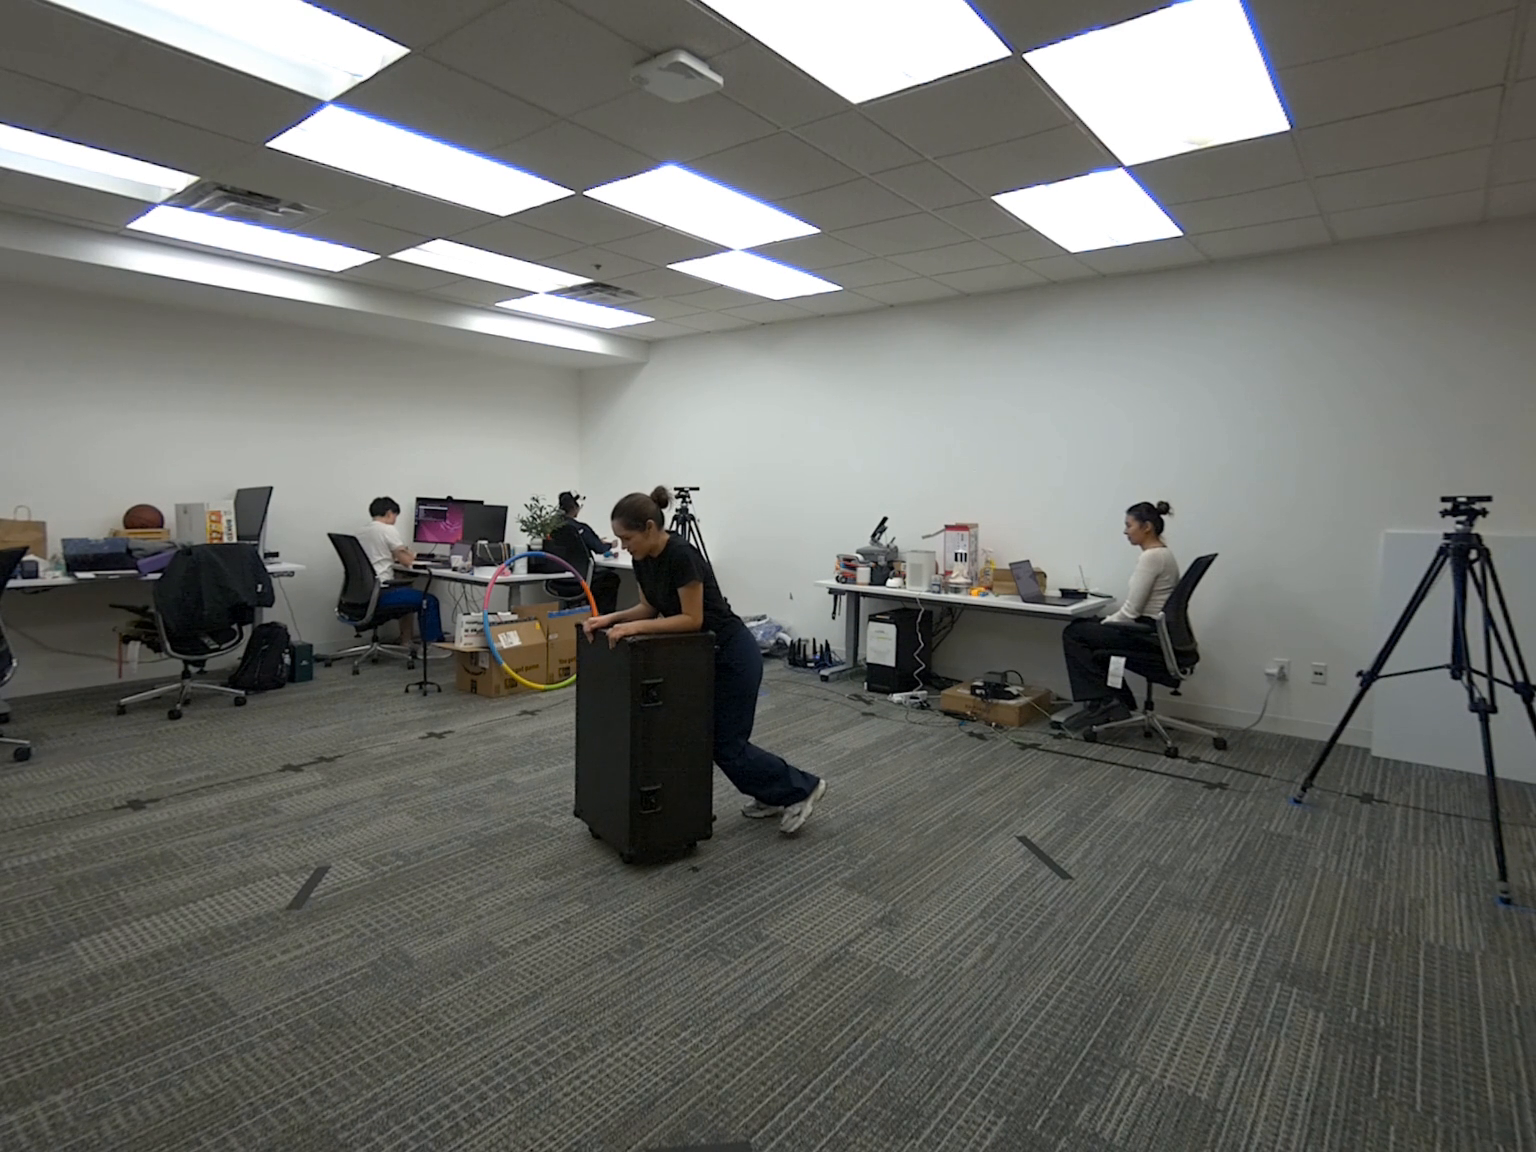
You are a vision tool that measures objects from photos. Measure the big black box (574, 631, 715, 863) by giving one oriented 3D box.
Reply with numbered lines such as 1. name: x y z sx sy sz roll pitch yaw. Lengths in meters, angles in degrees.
1. big black box: -0.466 0.555 3.309 0.385 0.859 0.538 -2 4 -34
